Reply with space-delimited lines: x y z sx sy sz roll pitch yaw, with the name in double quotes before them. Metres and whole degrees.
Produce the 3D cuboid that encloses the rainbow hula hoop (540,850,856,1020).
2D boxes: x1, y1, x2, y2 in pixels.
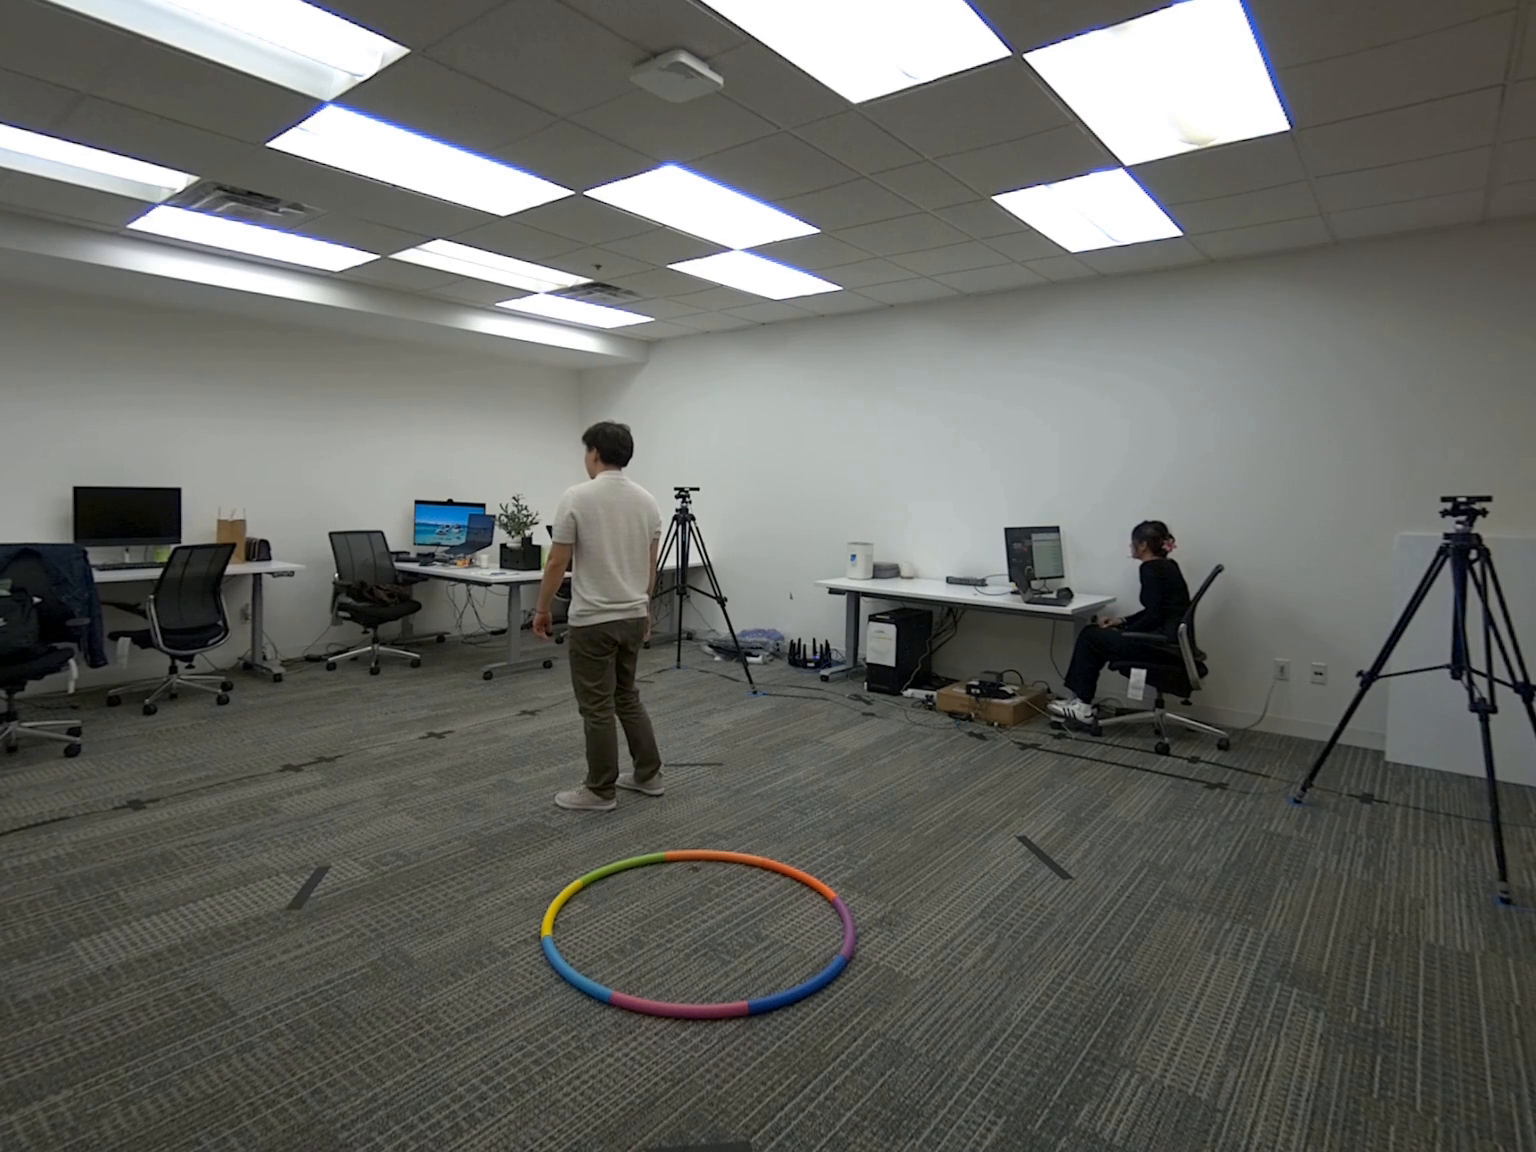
"rainbow hula hoop" -0.226 1.077 2.706 0.978 0.035 0.983 1 5 -2
